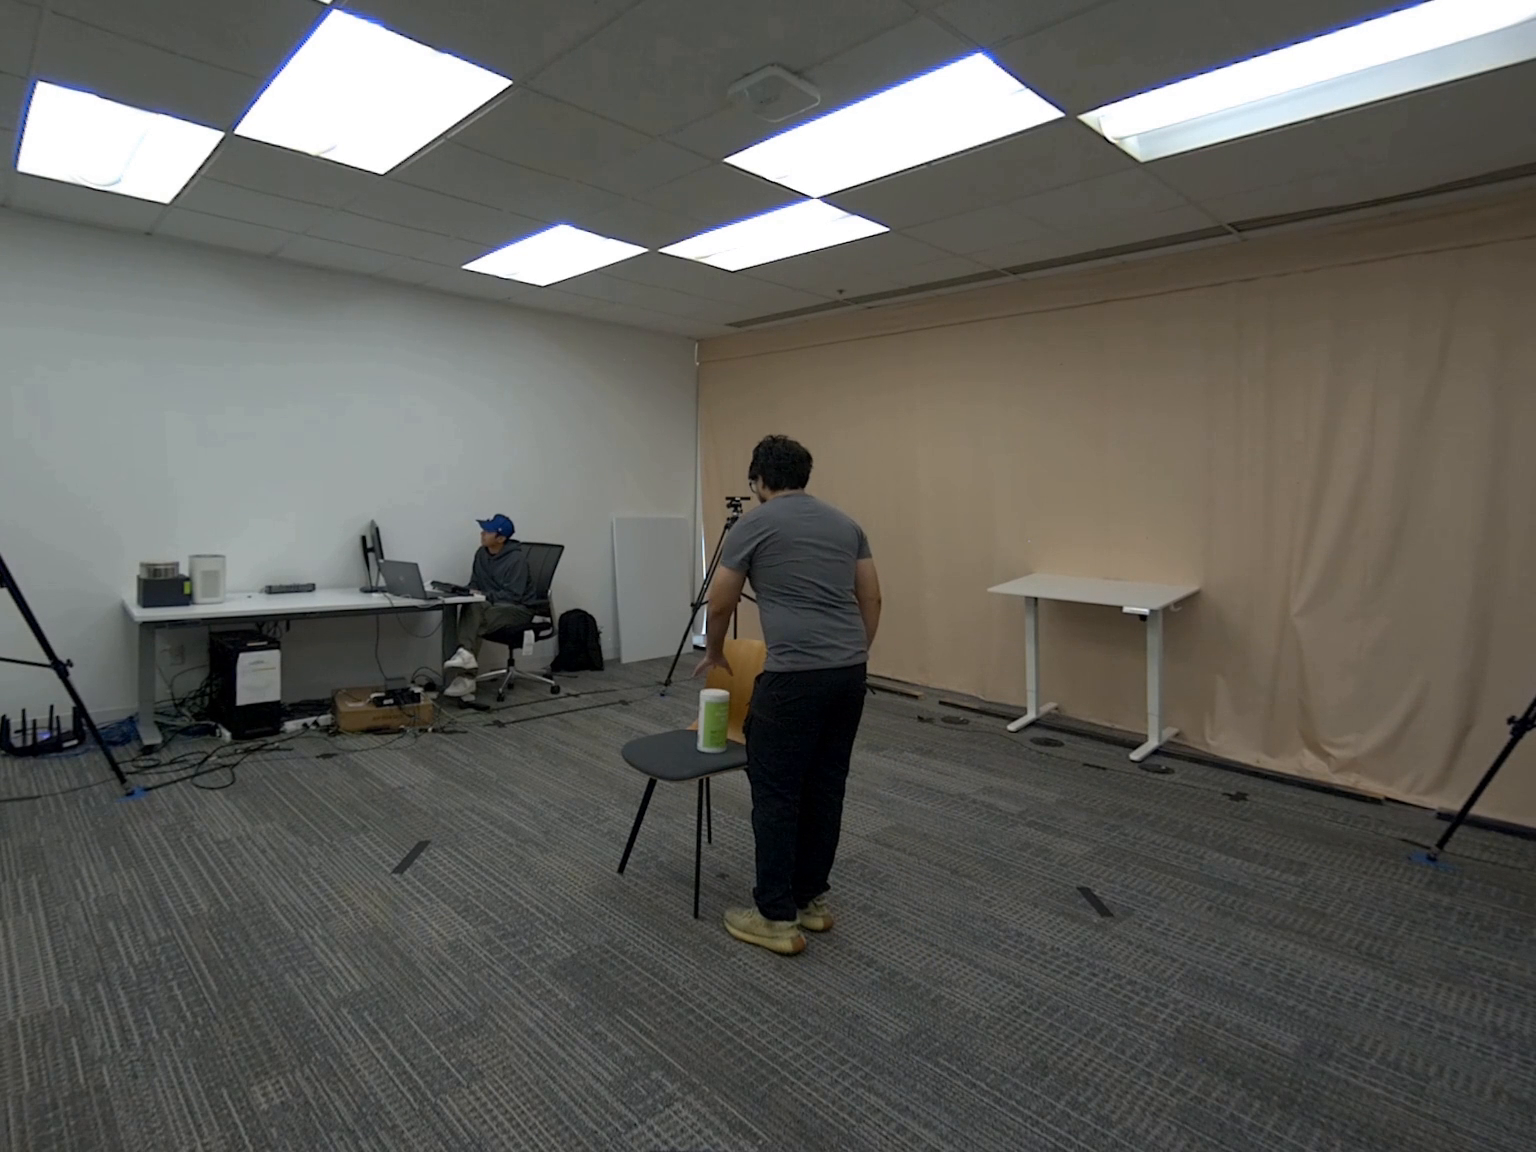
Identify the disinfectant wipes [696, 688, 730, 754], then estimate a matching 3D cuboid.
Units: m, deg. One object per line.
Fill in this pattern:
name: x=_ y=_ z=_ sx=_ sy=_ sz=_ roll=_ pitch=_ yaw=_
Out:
disinfectant wipes: x=-0.207 y=0.529 z=3.081 sx=0.118 sy=0.217 sz=0.118 roll=3 pitch=3 yaw=-2
